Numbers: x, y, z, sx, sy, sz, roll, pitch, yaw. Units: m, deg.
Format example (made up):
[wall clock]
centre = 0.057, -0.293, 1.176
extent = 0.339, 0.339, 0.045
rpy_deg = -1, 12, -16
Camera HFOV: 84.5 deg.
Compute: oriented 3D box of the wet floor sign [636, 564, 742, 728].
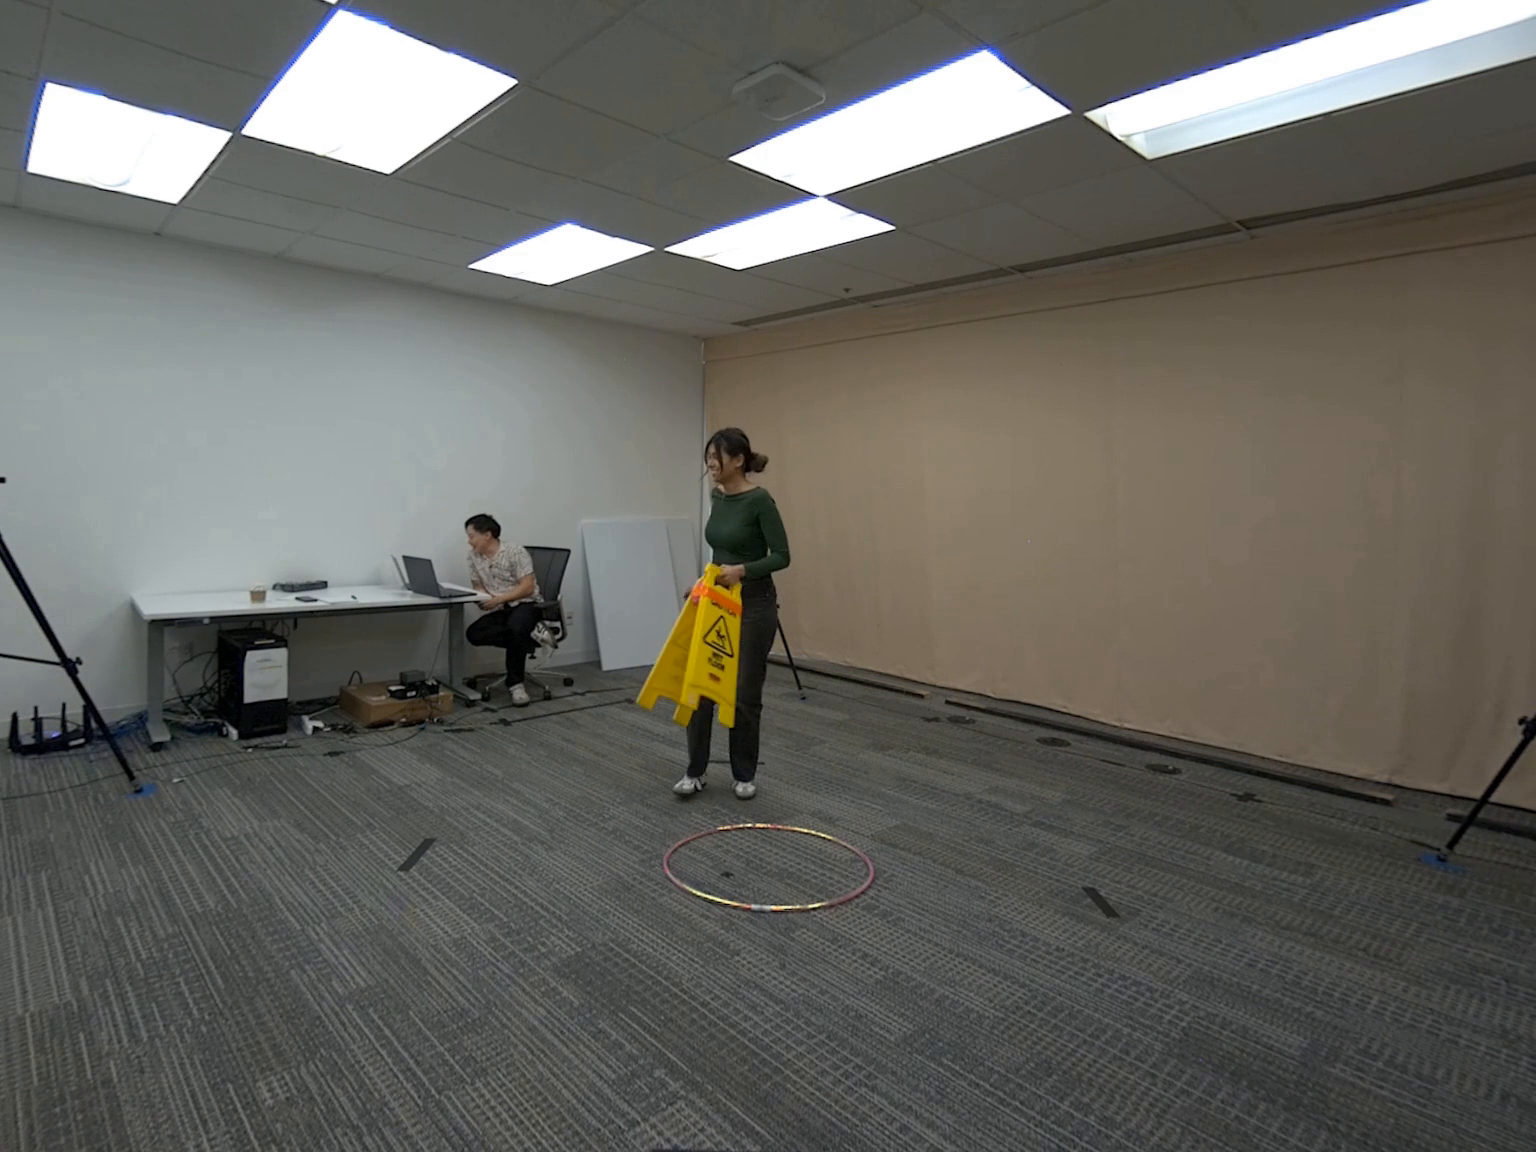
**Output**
[wet floor sign]
centre = -0.267, 0.271, 3.500
extent = 0.295, 0.653, 0.274
rpy_deg = -11, -34, 45
